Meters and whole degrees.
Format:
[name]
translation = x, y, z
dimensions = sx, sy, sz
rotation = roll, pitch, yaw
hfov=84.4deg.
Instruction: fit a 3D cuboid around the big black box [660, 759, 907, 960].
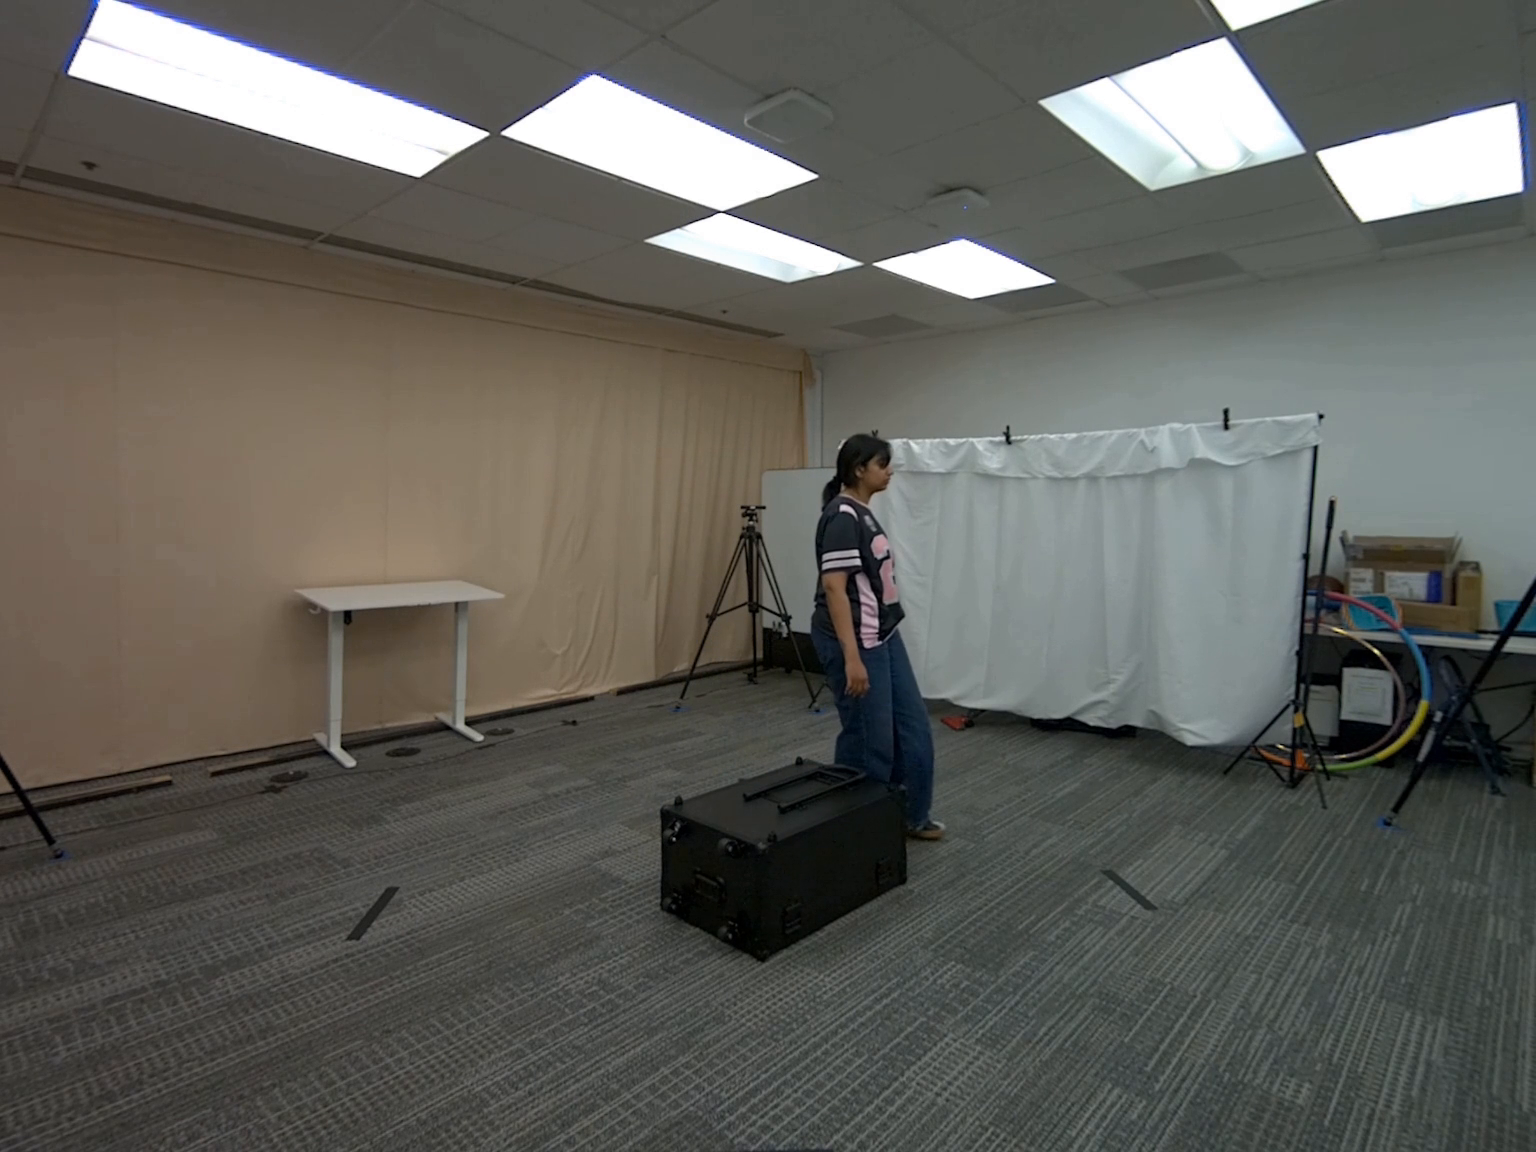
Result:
[big black box]
translation = 0.052, 0.961, 2.962
dimensions = 0.541, 0.384, 0.842
rotation = 5, 7, 44
